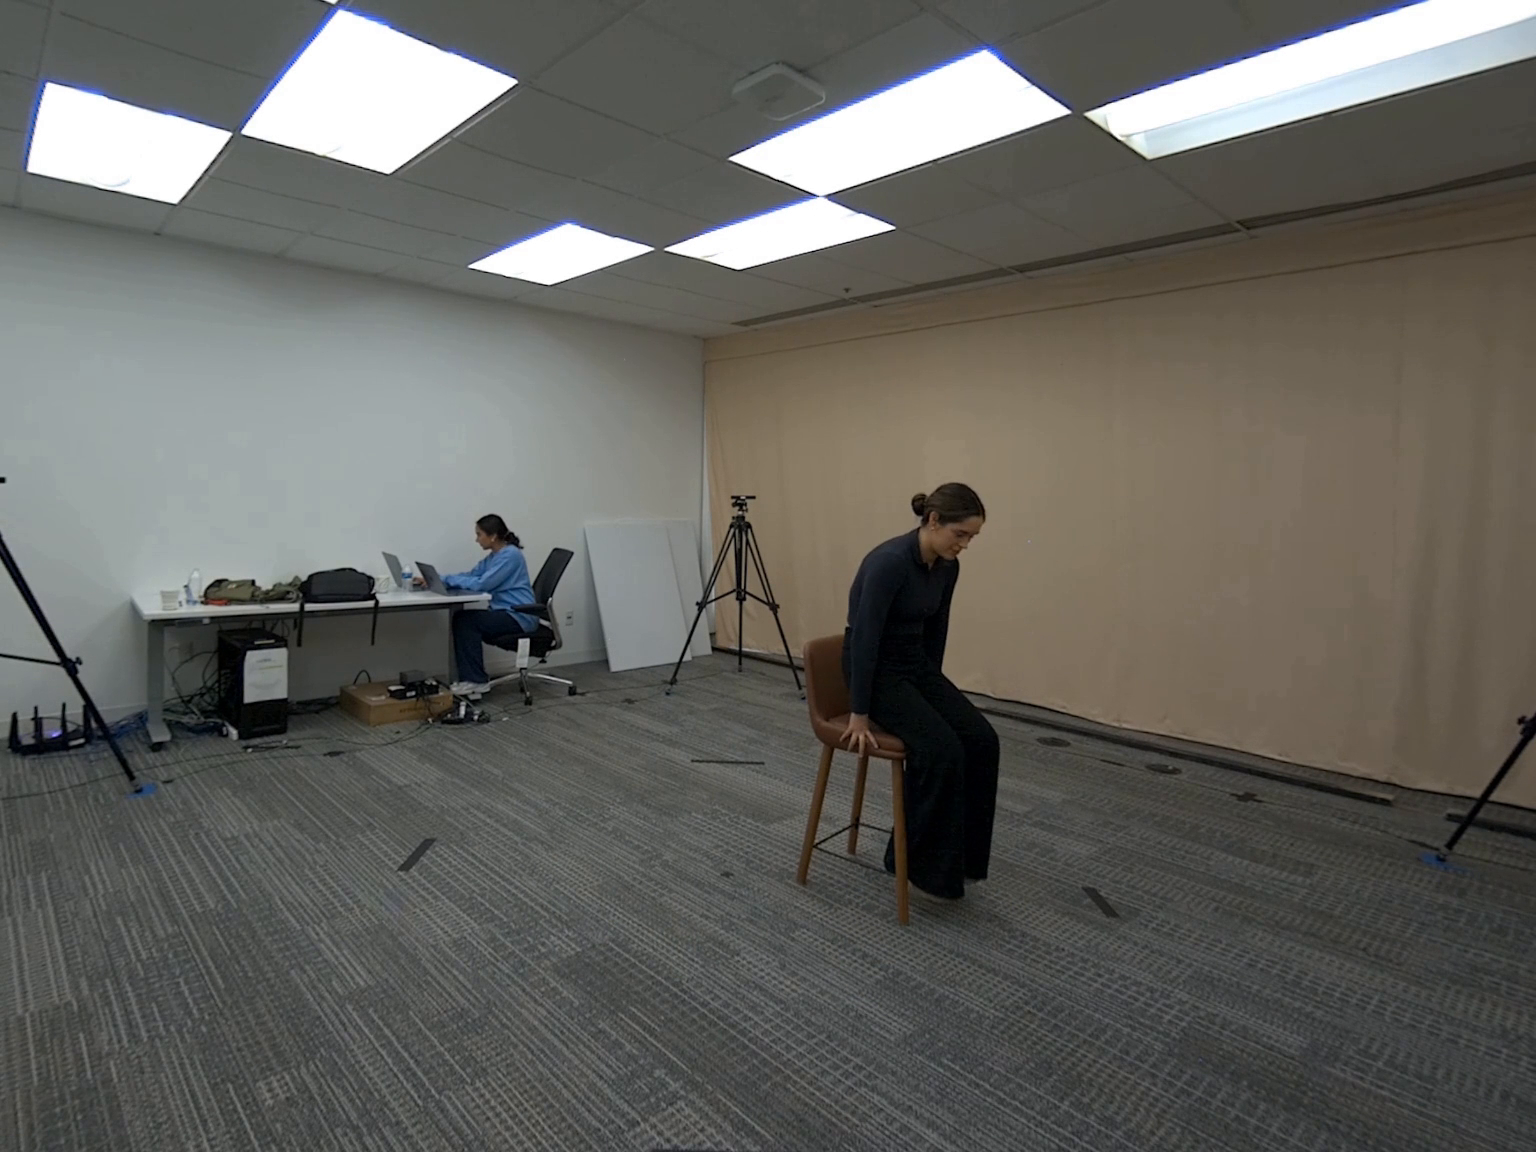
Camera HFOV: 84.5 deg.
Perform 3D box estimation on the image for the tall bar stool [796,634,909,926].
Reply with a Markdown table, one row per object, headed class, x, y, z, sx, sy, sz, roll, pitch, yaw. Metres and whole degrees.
| class | x | y | z | sx | sy | sz | roll | pitch | yaw |
| --- | --- | --- | --- | --- | --- | --- | --- | --- | --- |
| tall bar stool | 0.392 | 0.685 | 3.033 | 0.479 | 0.888 | 0.446 | 2 | 3 | 39 |
